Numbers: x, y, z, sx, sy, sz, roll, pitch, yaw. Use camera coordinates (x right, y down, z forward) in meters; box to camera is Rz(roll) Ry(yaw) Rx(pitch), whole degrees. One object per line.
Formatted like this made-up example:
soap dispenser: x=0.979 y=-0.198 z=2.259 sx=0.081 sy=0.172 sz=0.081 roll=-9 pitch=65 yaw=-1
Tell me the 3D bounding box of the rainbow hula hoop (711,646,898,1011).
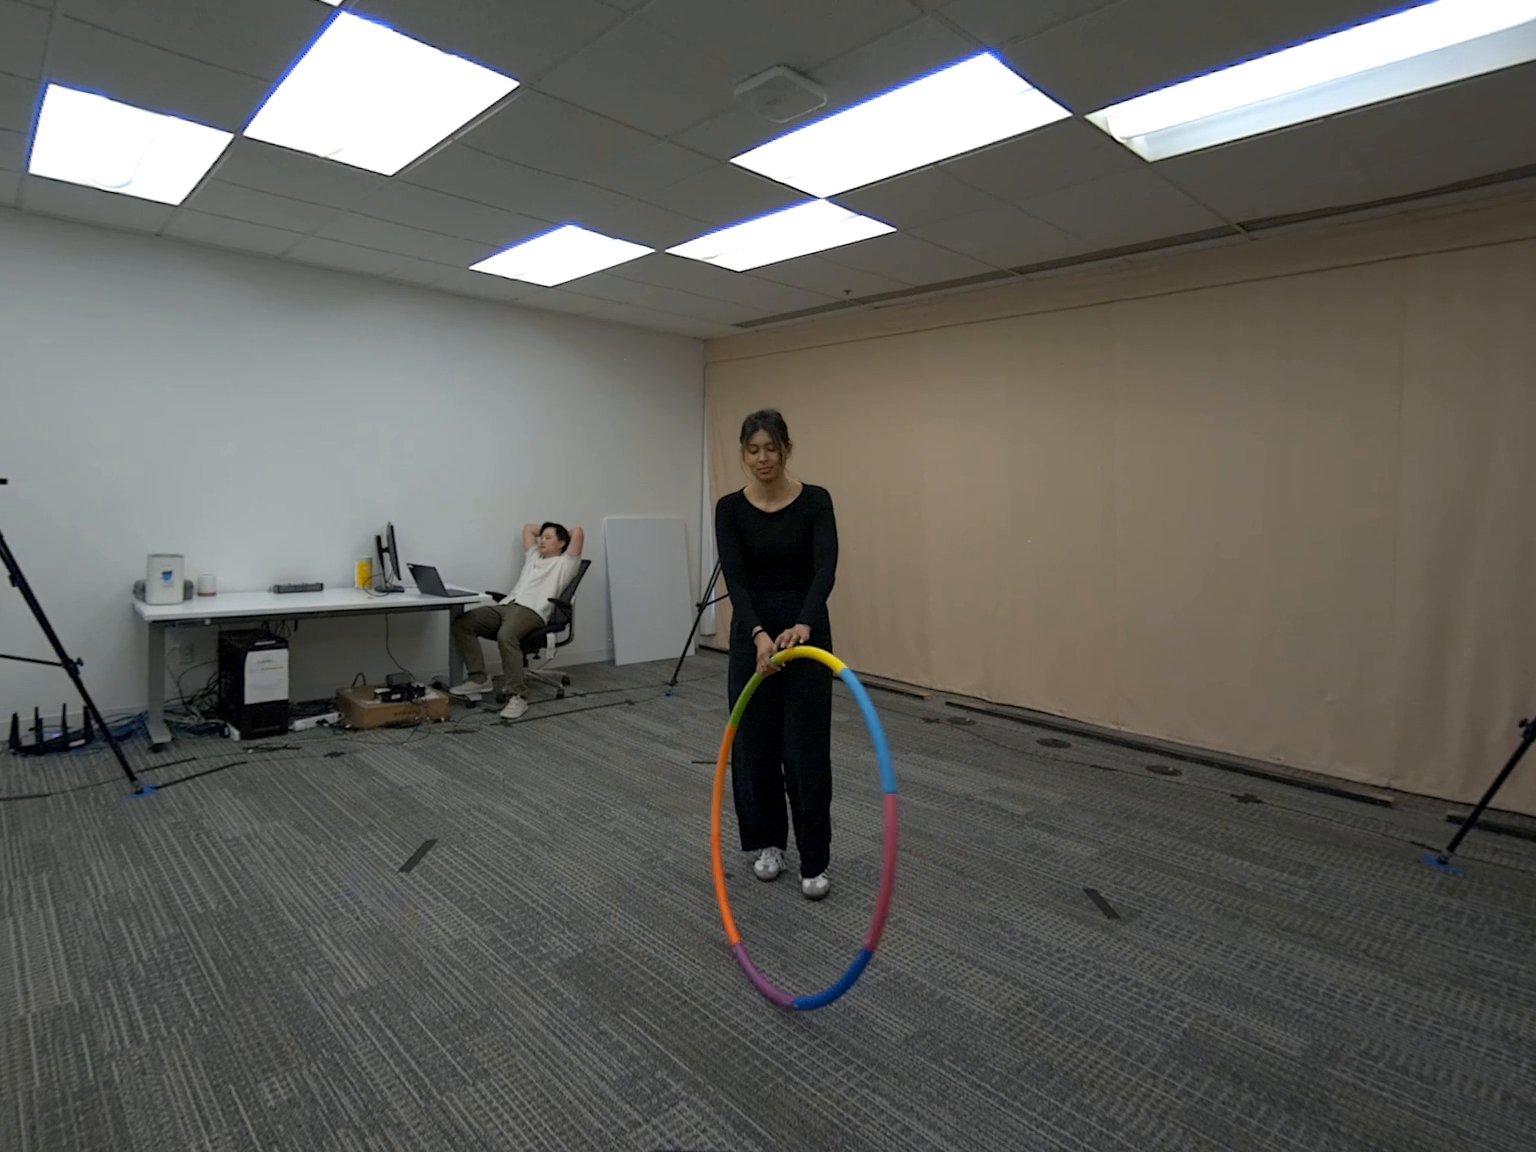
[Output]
rainbow hula hoop: x=0.047 y=0.696 z=2.423 sx=0.035 sy=0.979 sz=0.999 roll=10 pitch=0 yaw=-27
